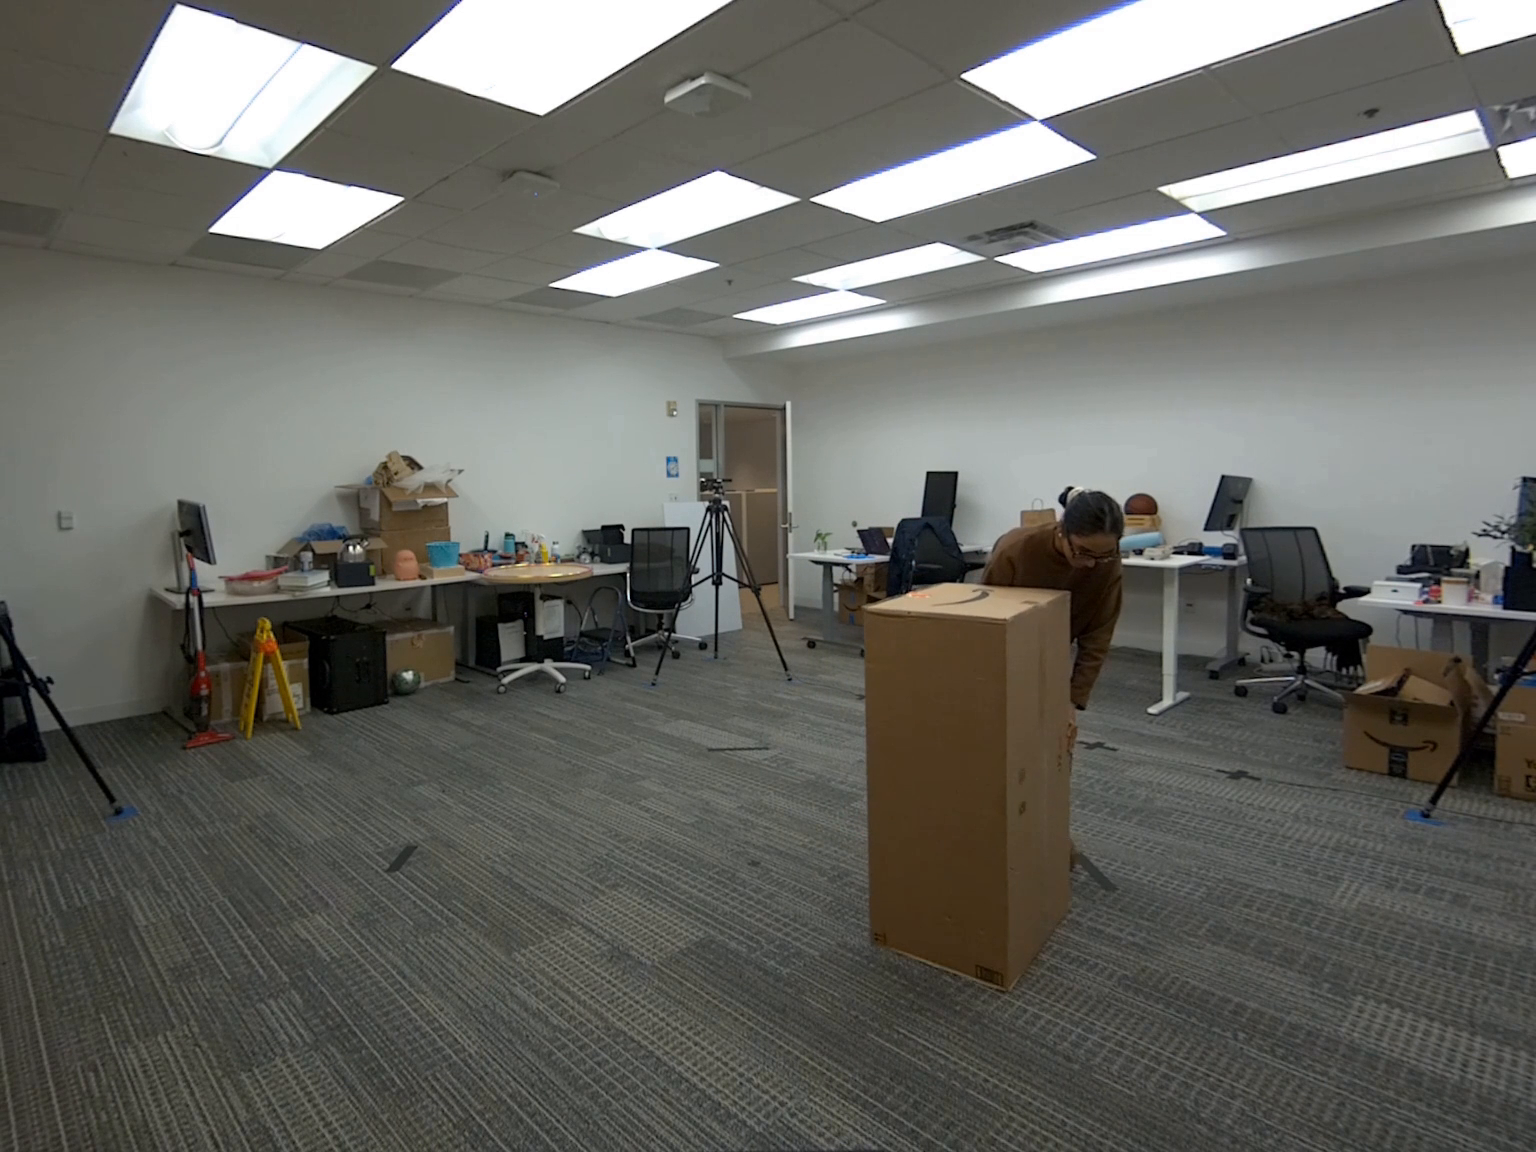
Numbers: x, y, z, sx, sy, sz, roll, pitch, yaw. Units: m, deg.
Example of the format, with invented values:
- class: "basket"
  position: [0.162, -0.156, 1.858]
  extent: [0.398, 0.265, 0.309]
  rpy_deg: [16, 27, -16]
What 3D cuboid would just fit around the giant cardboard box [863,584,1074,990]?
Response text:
- class: "giant cardboard box"
  position: [0.620, 0.578, 2.610]
  extent: [0.438, 1.021, 0.563]
  rpy_deg: [2, 6, 37]
